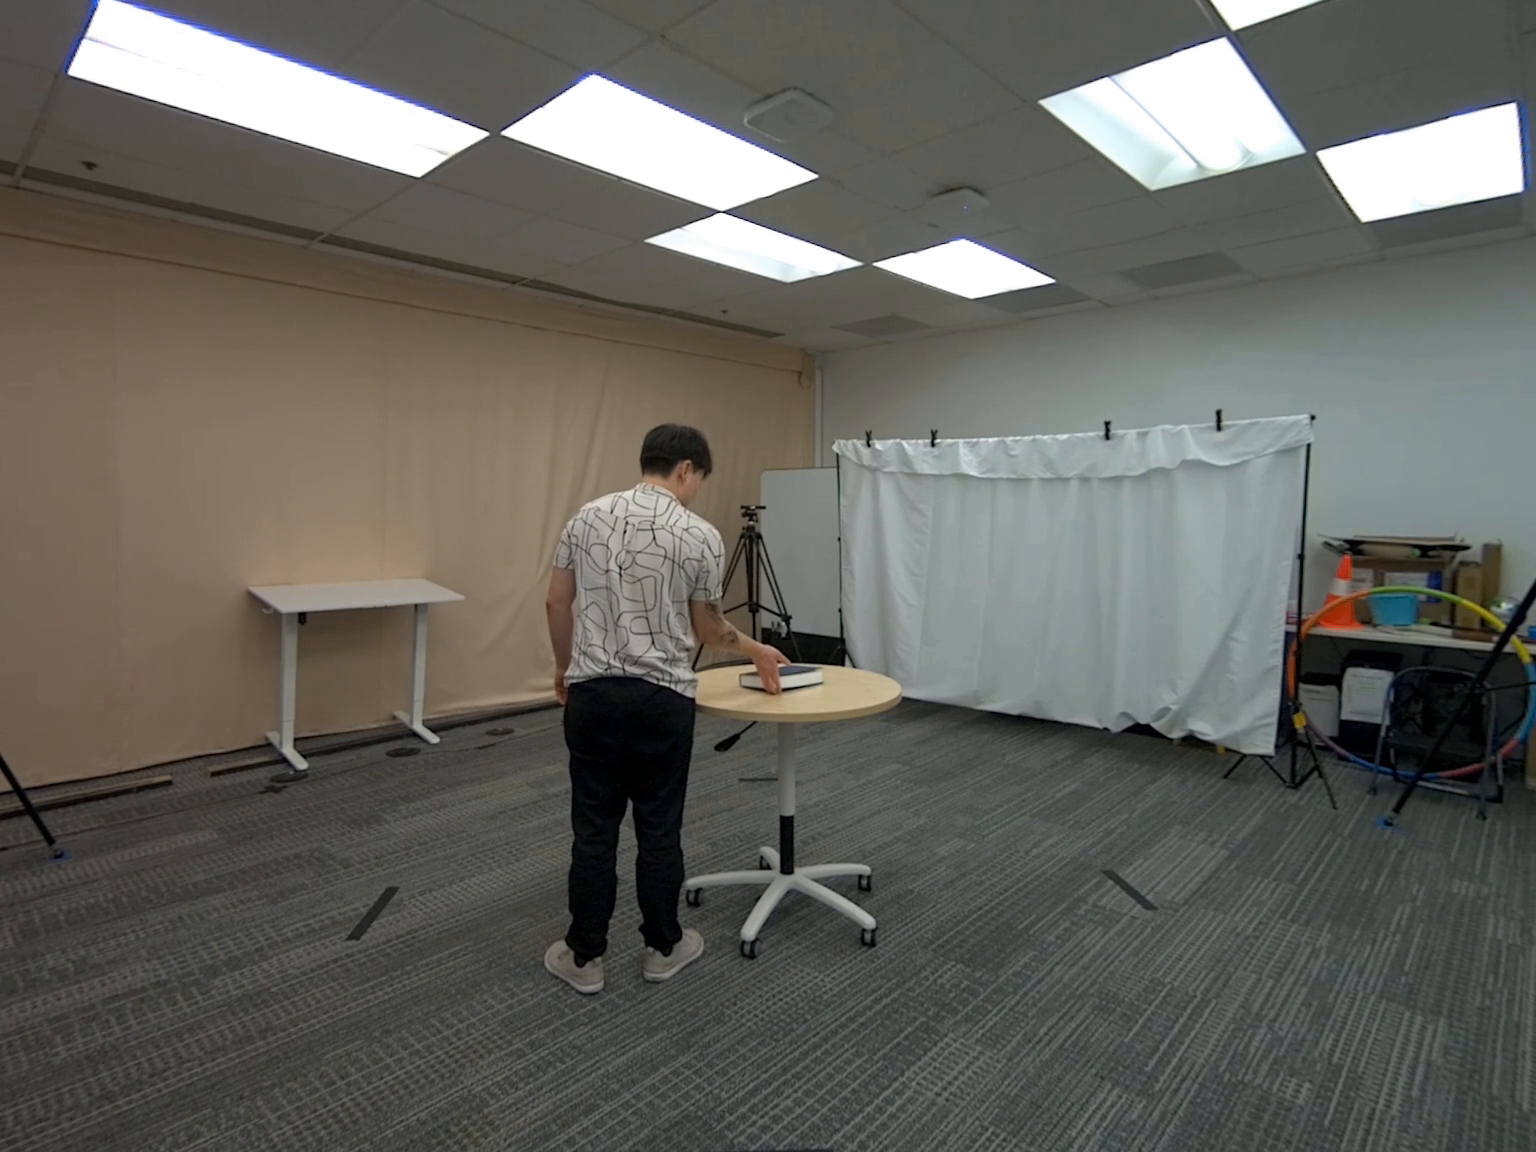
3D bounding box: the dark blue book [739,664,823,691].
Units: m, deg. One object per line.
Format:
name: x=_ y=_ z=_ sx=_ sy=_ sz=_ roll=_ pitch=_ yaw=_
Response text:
dark blue book: x=0.056 y=0.350 z=2.851 sx=0.237 sy=0.045 sz=0.168 roll=-4 pitch=2 yaw=-41
